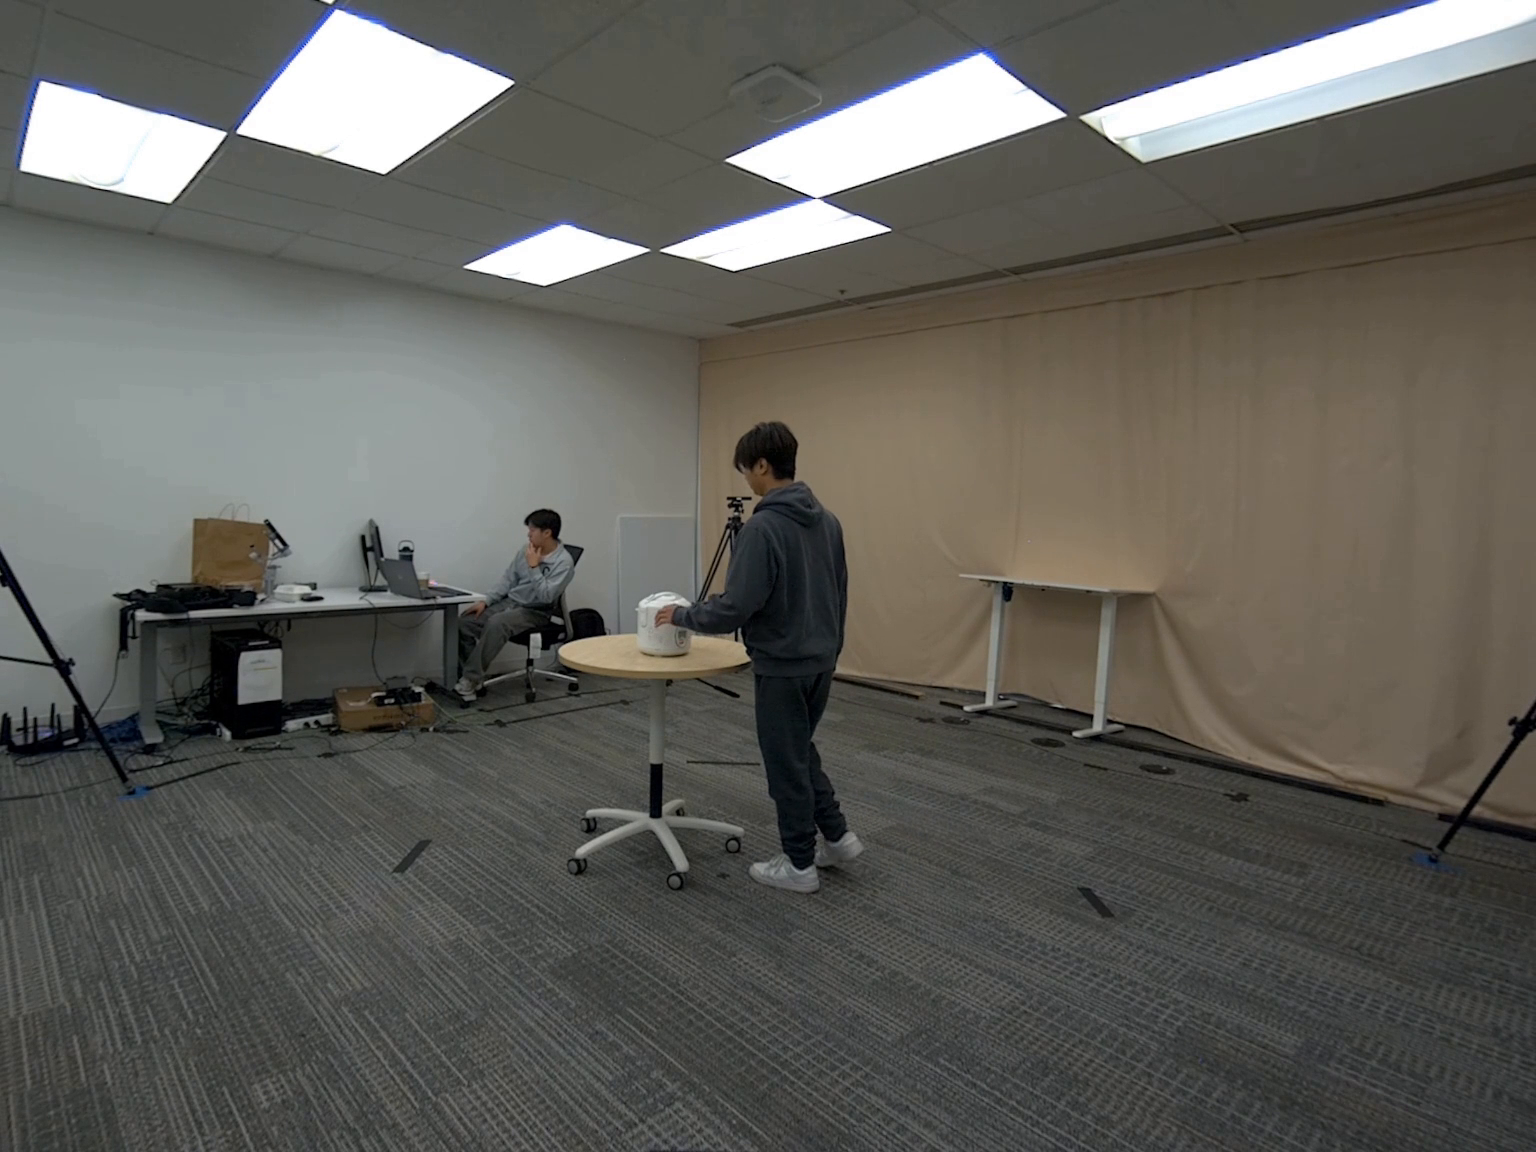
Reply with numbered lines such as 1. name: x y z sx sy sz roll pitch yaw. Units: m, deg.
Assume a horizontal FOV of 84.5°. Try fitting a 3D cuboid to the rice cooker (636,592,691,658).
1. rice cooker: -0.393 0.178 3.210 0.215 0.232 0.223 -2 5 -43
